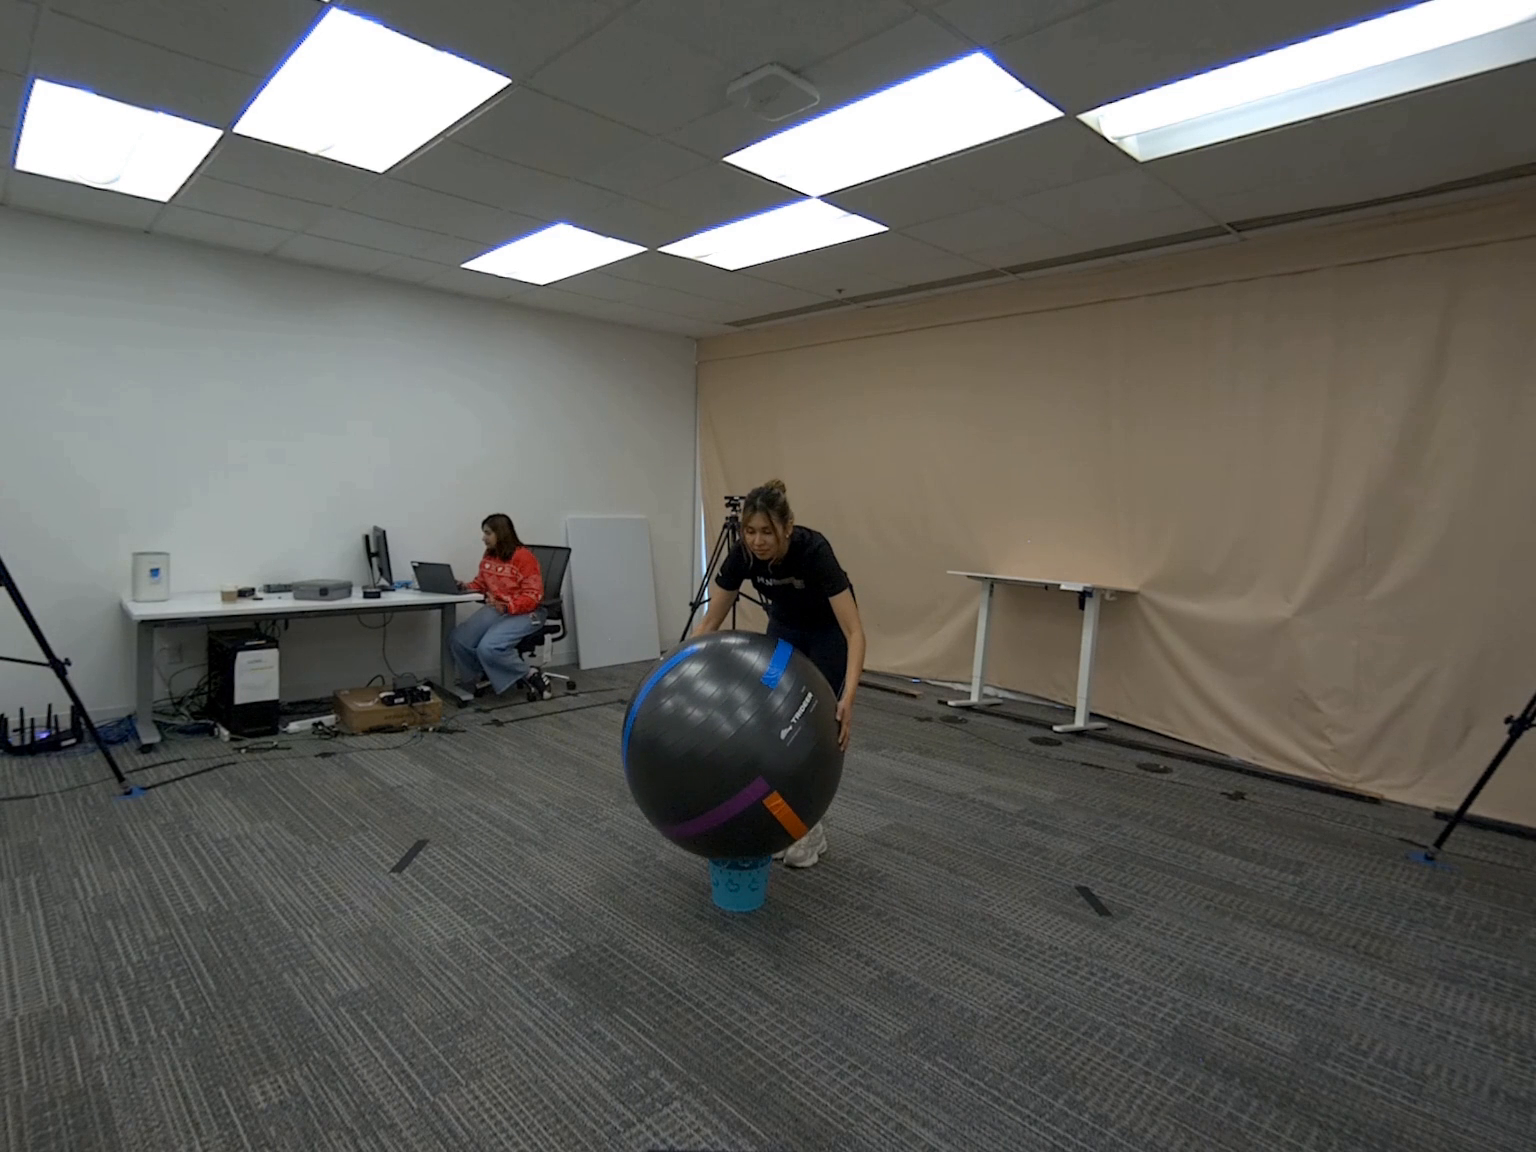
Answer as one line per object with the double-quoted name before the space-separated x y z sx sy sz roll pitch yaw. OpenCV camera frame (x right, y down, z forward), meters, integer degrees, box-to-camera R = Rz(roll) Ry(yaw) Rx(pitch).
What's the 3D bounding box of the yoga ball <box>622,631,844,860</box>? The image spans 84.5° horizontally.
"yoga ball" -0.121 0.568 2.837 0.757 0.756 0.761 1 4 -1
